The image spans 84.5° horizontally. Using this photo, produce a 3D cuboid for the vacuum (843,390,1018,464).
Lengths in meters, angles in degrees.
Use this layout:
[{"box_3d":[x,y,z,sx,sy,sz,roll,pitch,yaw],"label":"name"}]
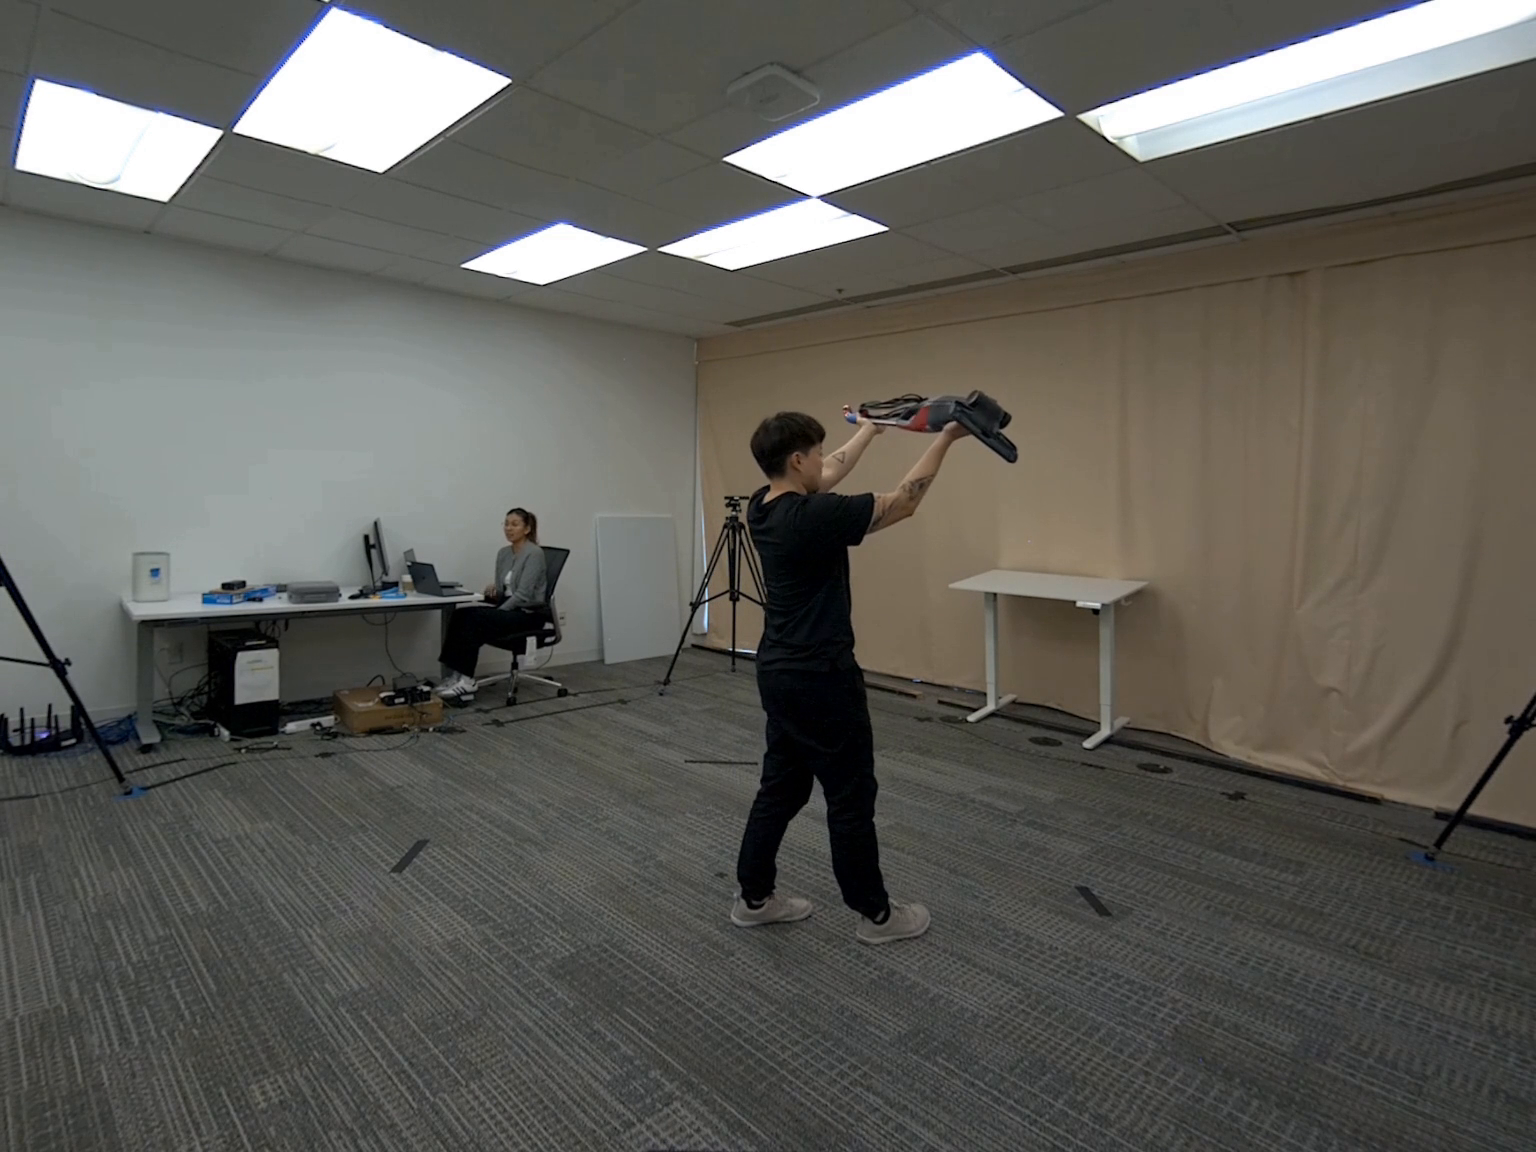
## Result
[{"box_3d":[0.475,-0.556,2.866,0.248,0.144,1.070,31,5,-20],"label":"vacuum"}]
